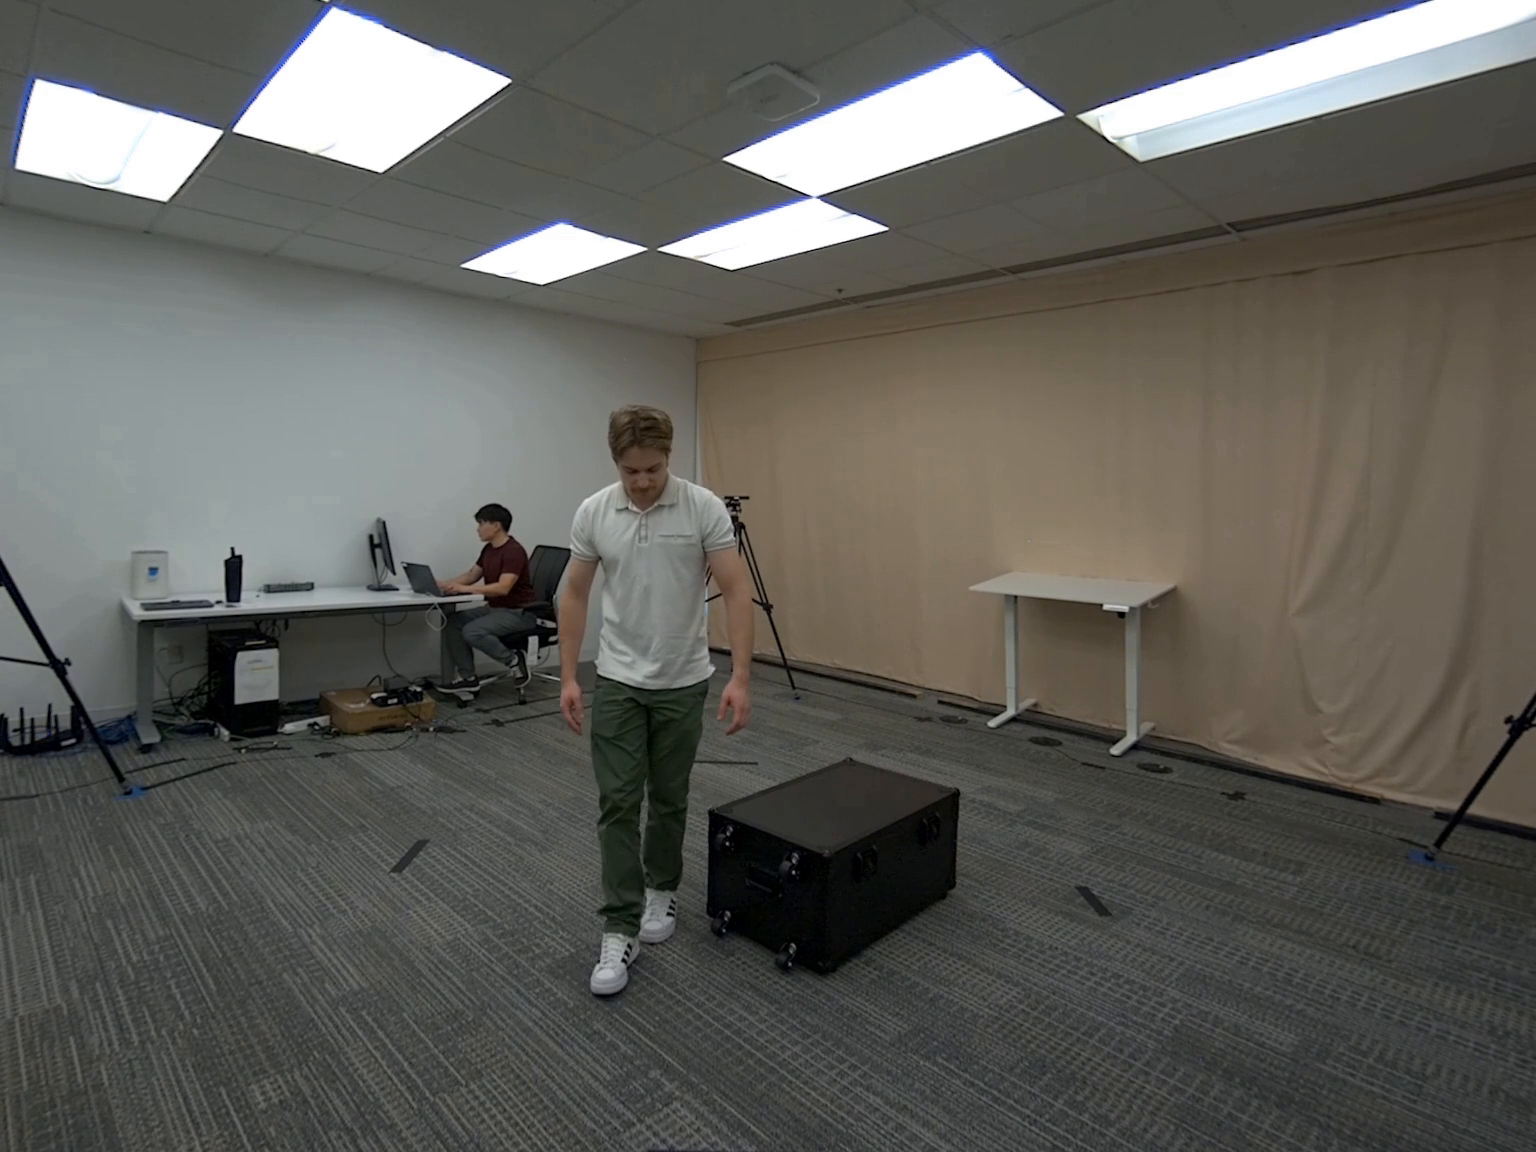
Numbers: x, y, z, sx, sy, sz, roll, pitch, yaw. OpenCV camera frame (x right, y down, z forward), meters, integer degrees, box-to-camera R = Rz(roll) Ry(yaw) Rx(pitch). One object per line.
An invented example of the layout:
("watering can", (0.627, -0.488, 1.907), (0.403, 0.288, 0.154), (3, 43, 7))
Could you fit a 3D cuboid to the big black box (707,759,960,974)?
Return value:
("big black box", (0.205, 0.941, 2.838), (0.537, 0.384, 0.849), (7, 8, 41))
